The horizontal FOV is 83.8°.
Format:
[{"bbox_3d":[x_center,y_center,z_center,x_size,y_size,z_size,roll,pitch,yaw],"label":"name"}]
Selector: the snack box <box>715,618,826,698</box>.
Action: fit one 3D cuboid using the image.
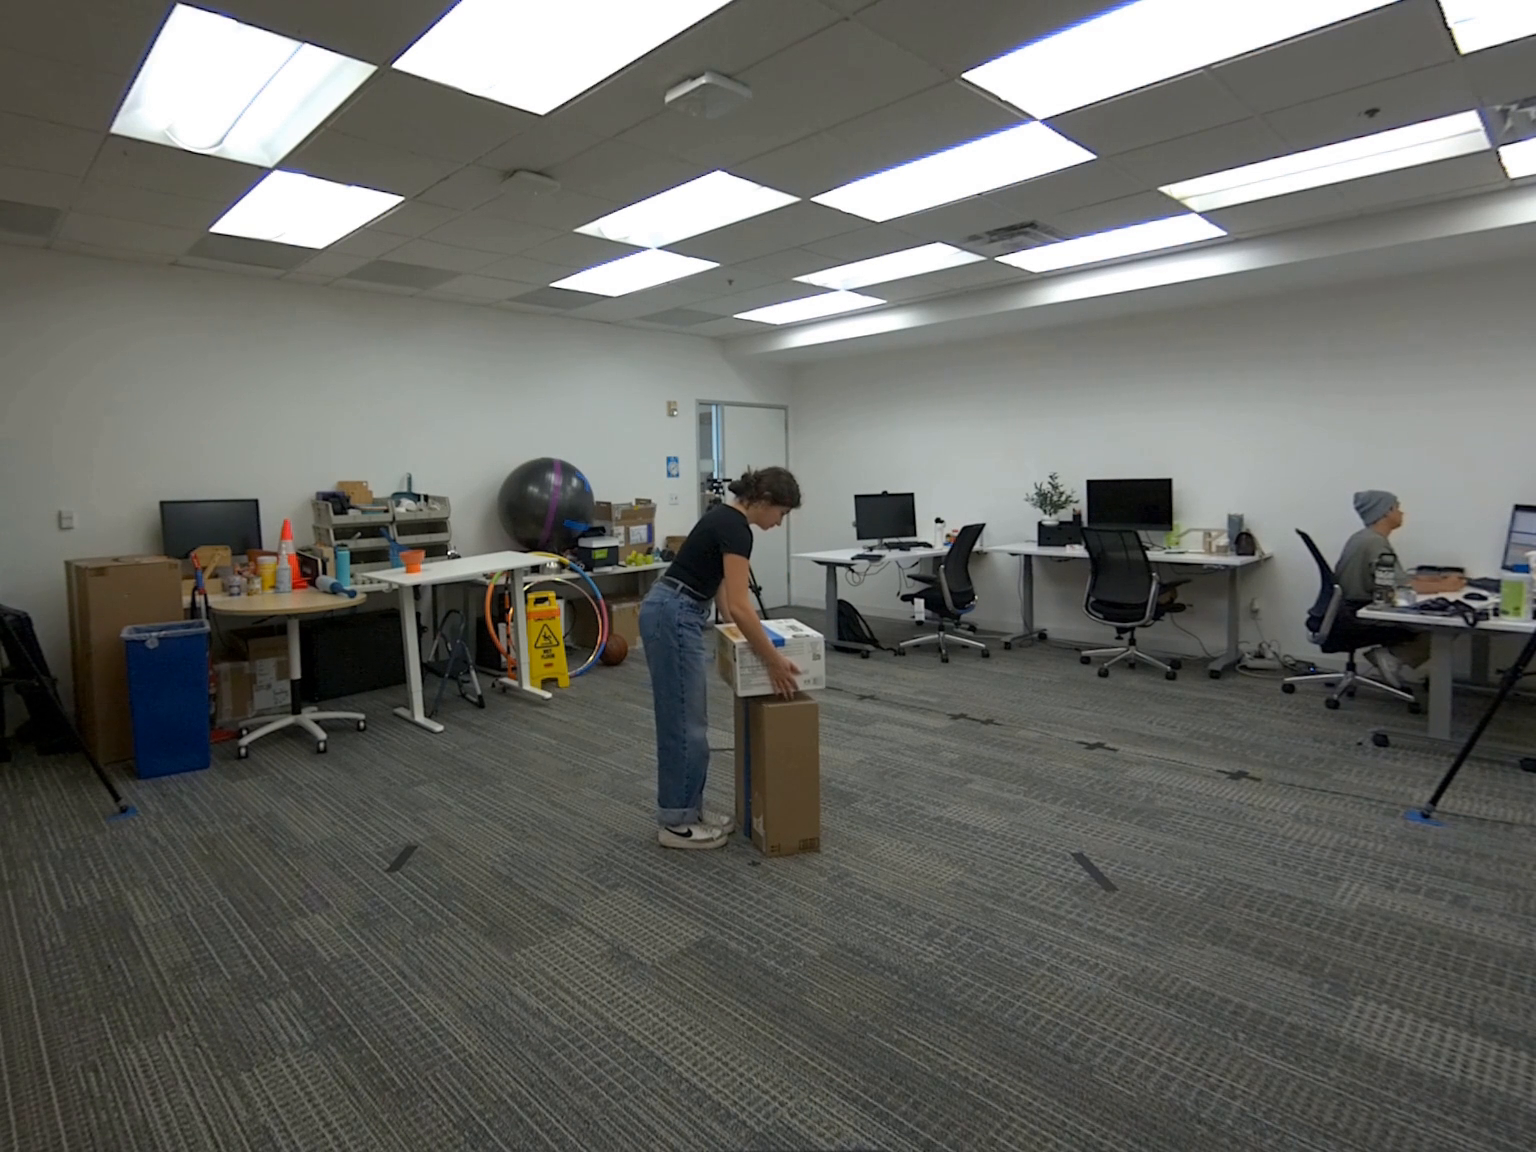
[{"bbox_3d":[-0.004,0.308,3.346,0.336,0.204,0.412,-5,7,-13],"label":"snack box"}]
